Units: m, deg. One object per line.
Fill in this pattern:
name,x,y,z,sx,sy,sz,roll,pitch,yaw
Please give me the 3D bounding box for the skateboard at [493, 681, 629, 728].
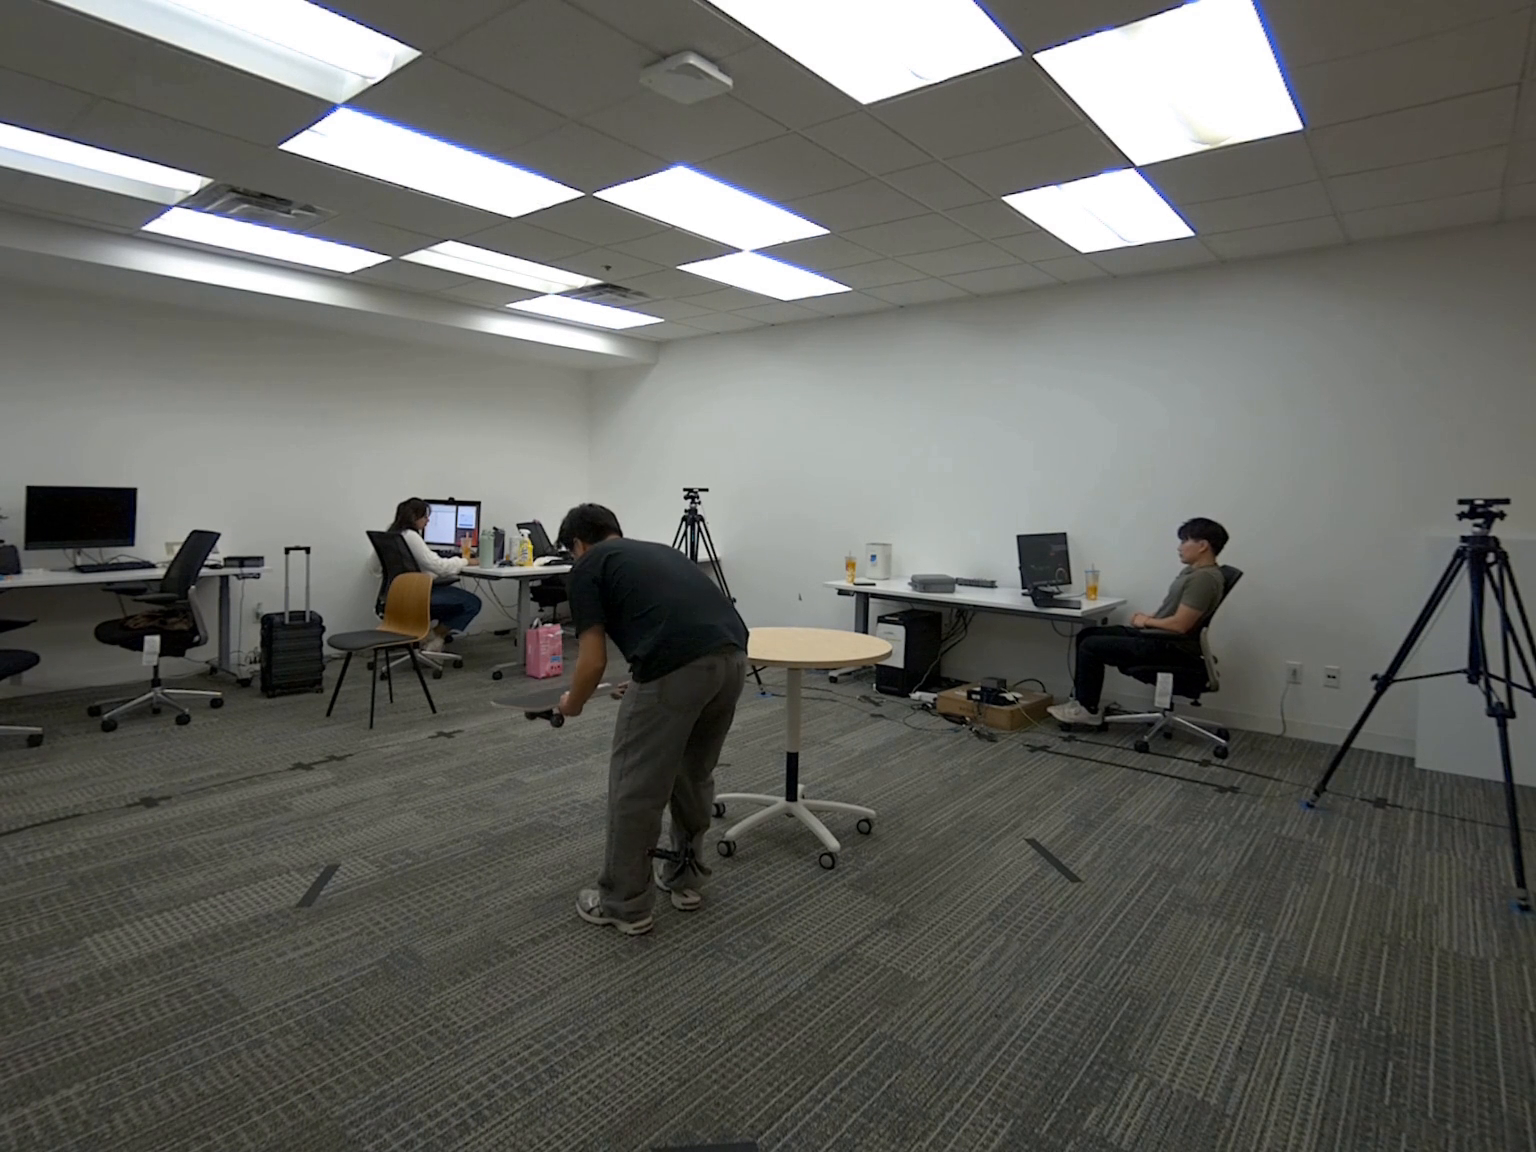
skateboard,-0.676,0.453,3.137,0.200,0.110,0.762,4,7,42
